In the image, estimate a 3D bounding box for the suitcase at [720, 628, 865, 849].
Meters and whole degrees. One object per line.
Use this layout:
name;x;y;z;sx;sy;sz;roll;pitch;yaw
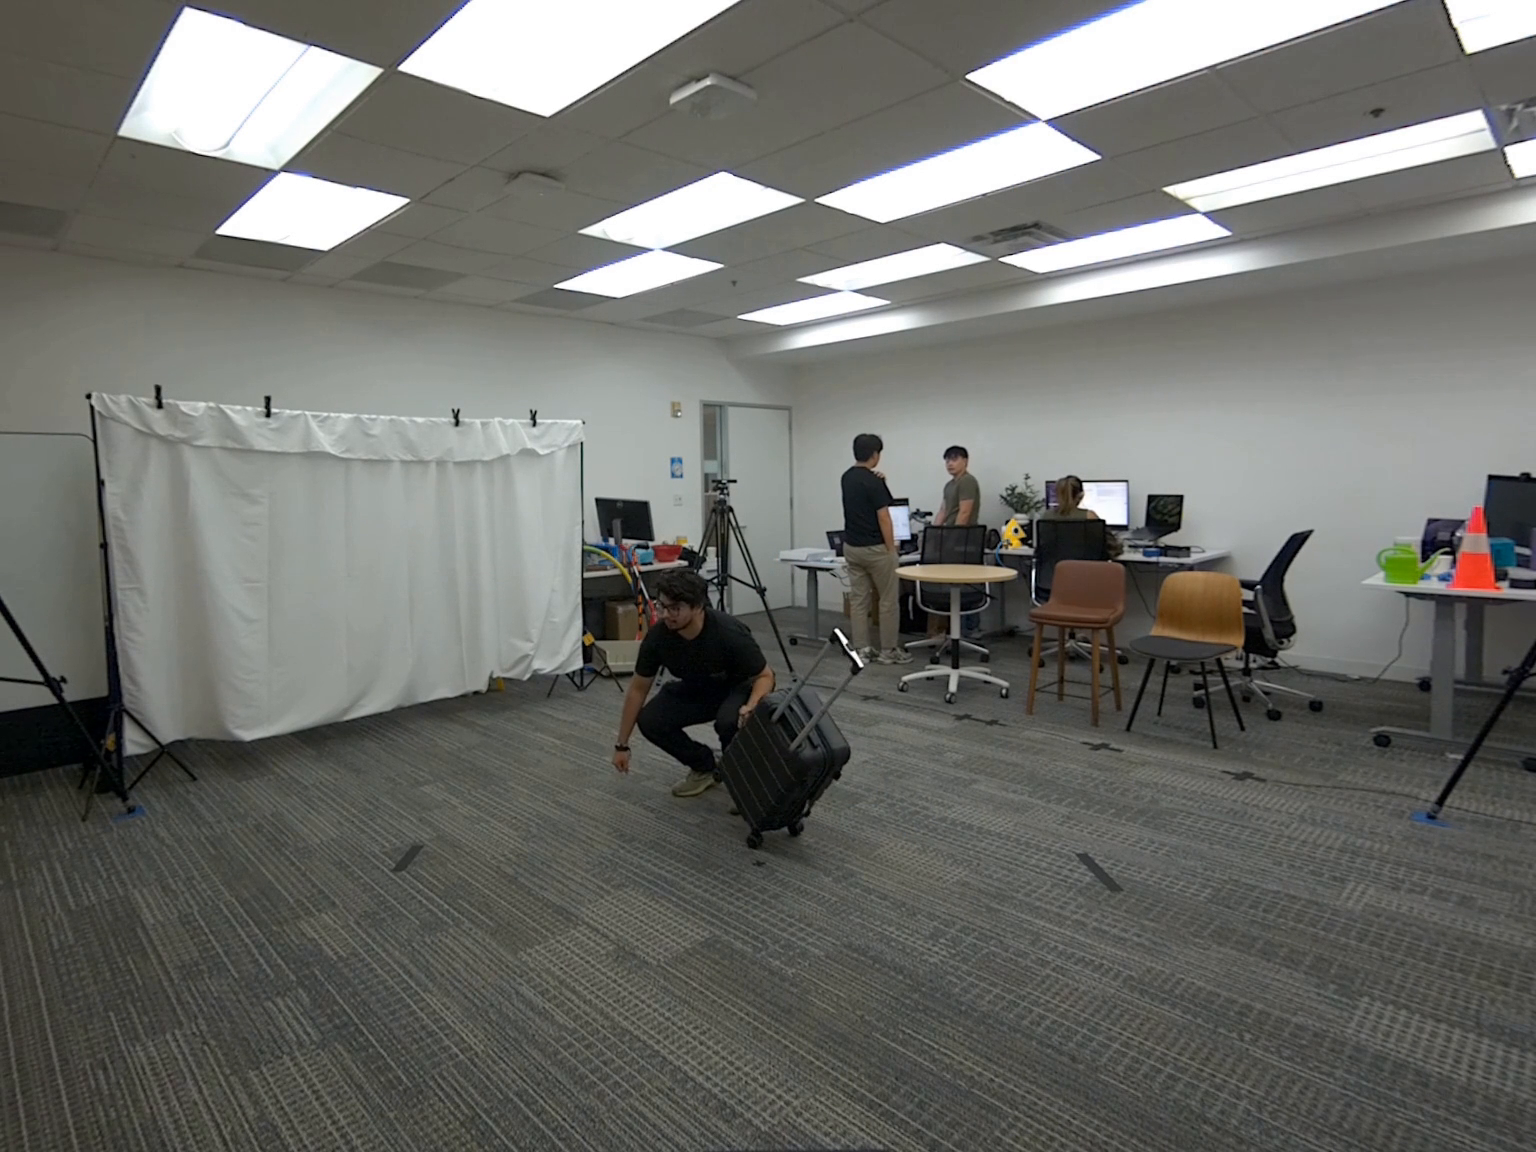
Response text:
suitcase;0.146;0.563;3.131;0.250;0.970;0.398;-1;45;-38
